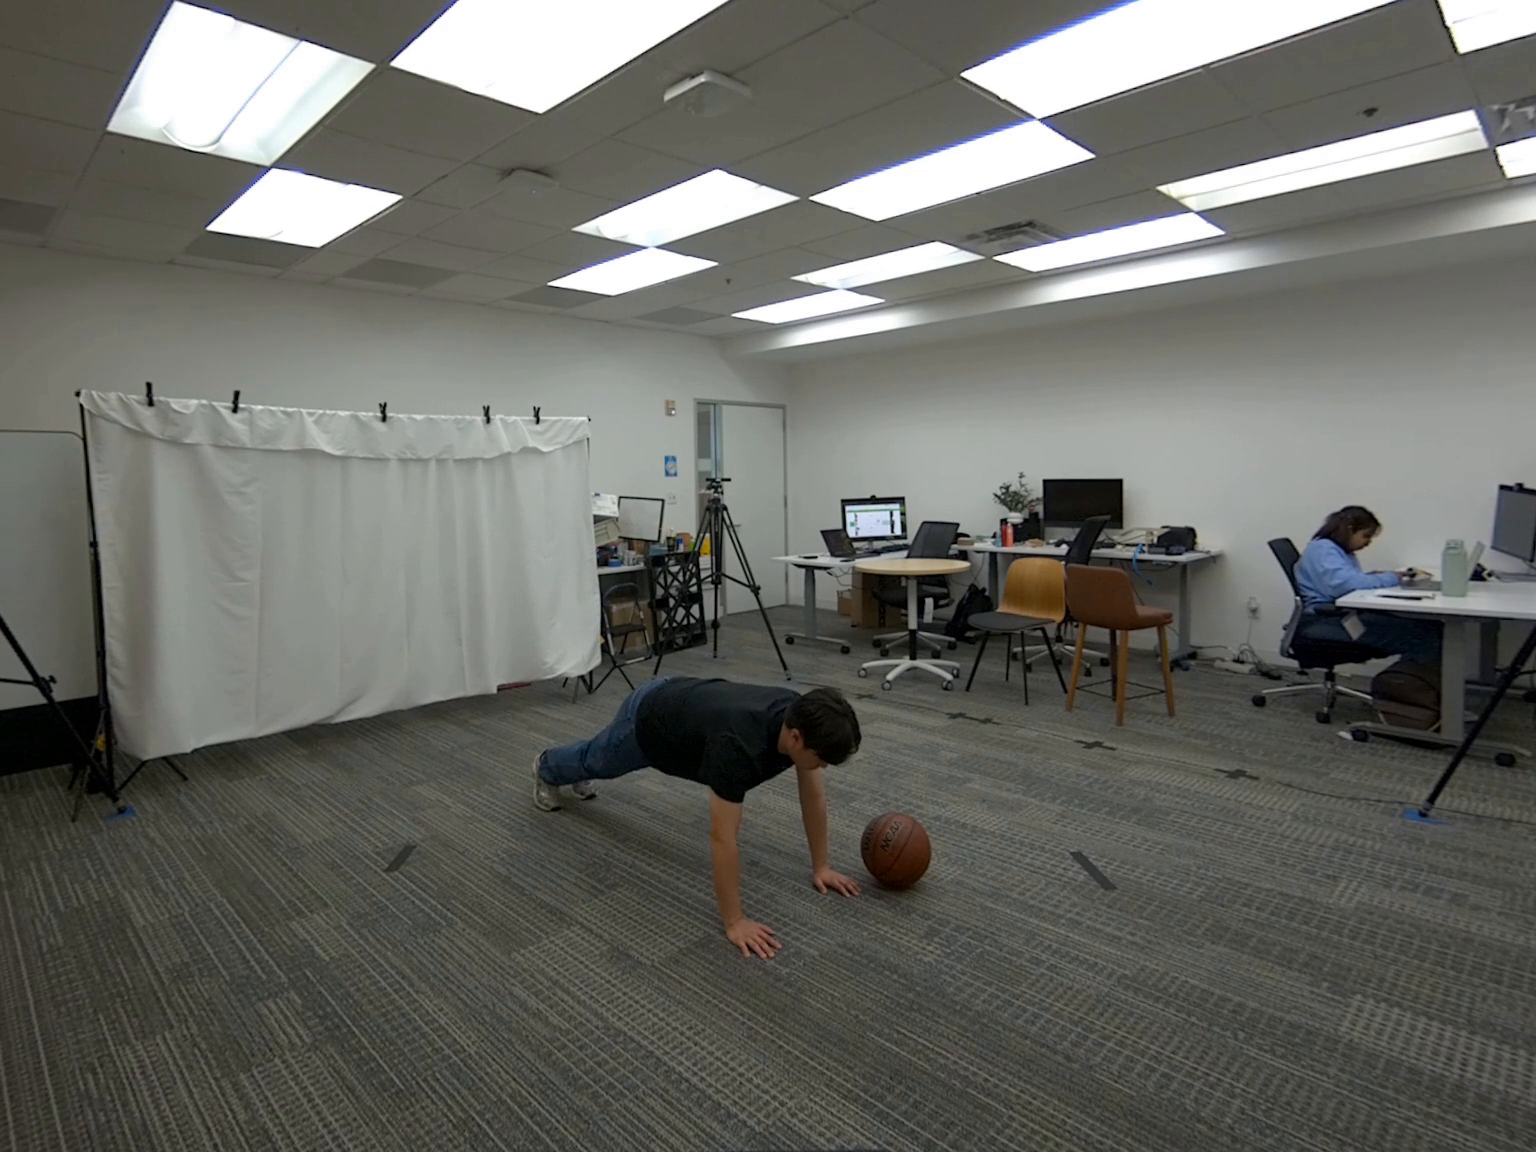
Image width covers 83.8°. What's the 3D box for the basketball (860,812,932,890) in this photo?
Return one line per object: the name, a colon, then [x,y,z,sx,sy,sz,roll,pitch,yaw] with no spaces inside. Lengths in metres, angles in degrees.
basketball: [0.442,0.928,2.919,0.236,0.235,0.237,-1,5,-2]
